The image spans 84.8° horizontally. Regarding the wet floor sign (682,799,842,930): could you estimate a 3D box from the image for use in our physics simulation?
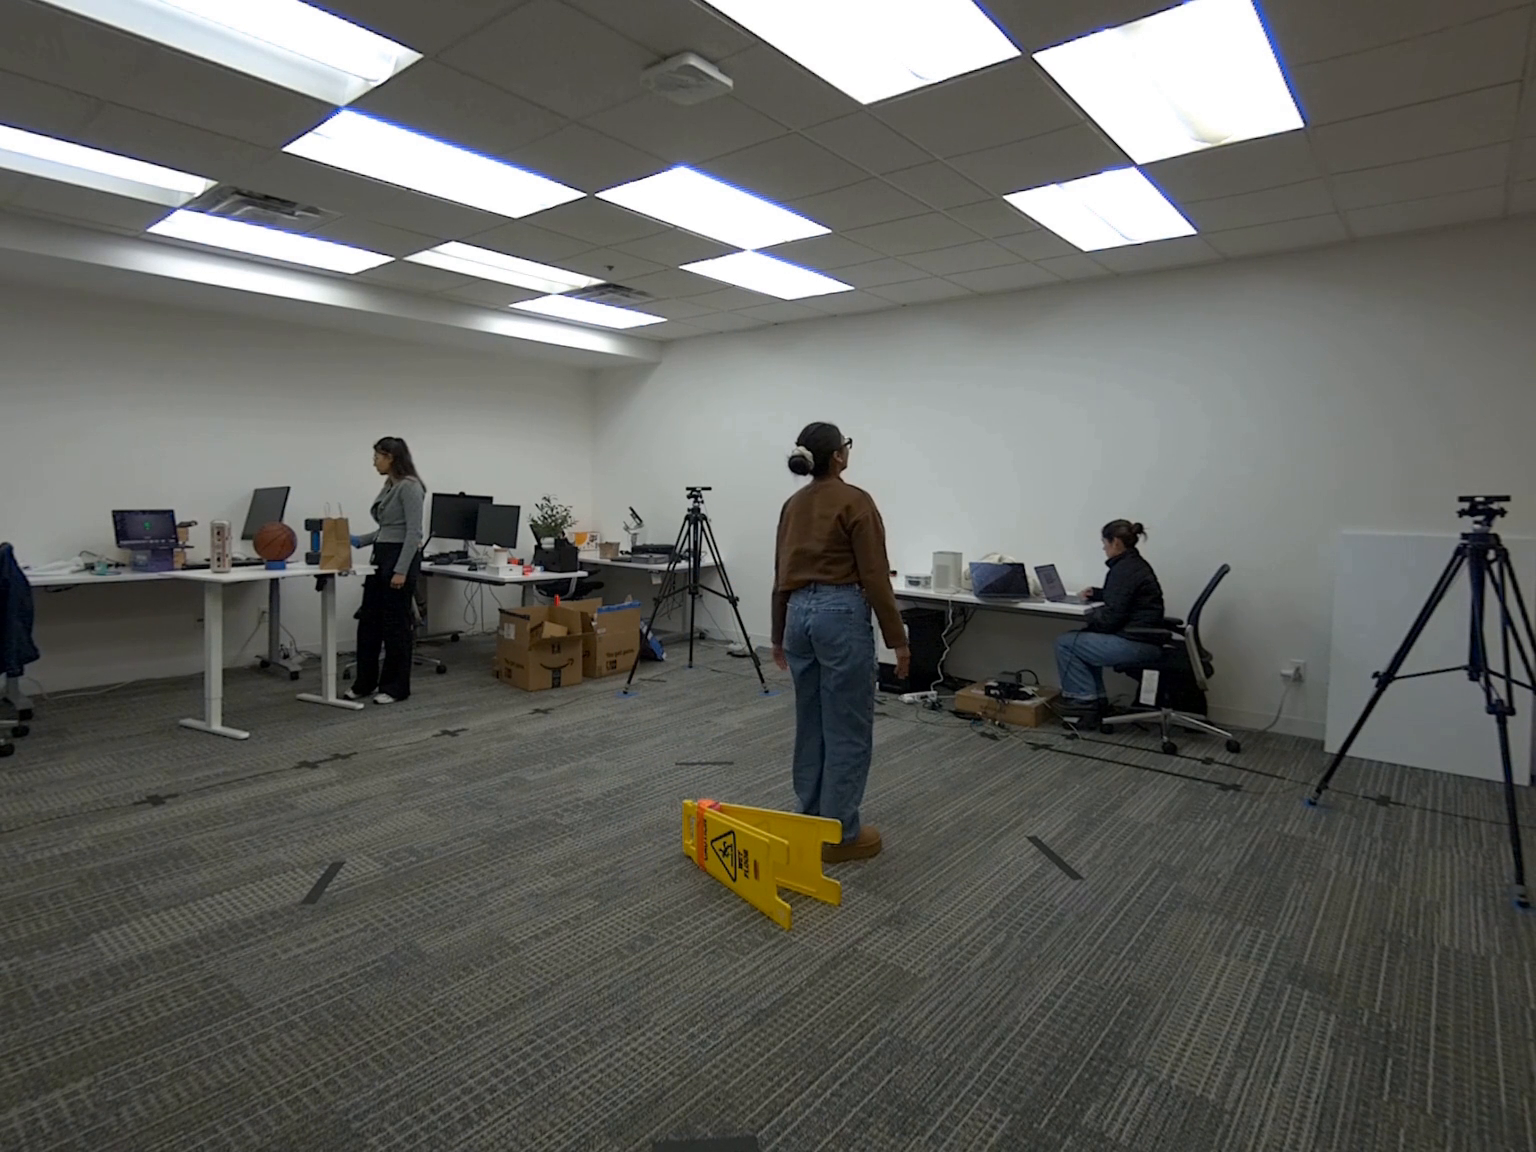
[{"bbox_3d":[-0.093,0.954,2.988,0.667,0.282,0.281,3,4,44],"label":"wet floor sign"}]
